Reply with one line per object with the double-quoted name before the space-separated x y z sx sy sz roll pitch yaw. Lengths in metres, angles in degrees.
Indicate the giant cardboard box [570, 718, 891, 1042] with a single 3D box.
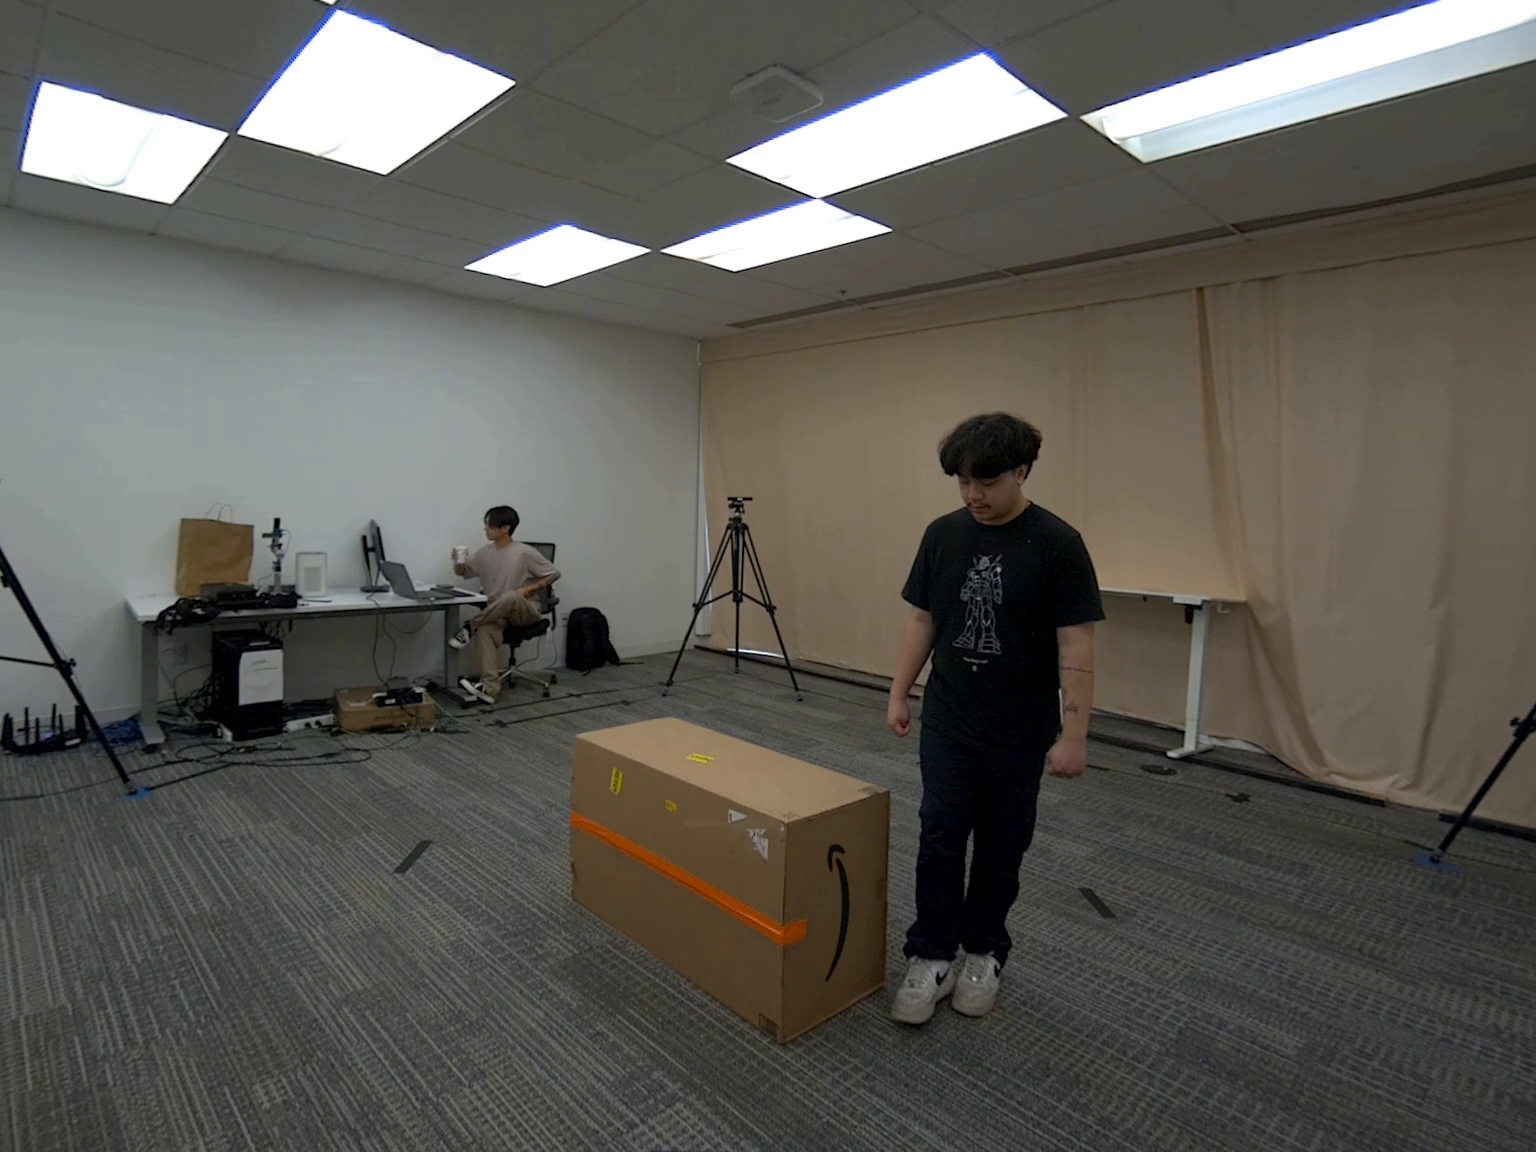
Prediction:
"giant cardboard box" -0.176 0.864 2.648 0.437 0.582 1.053 -3 6 -43
